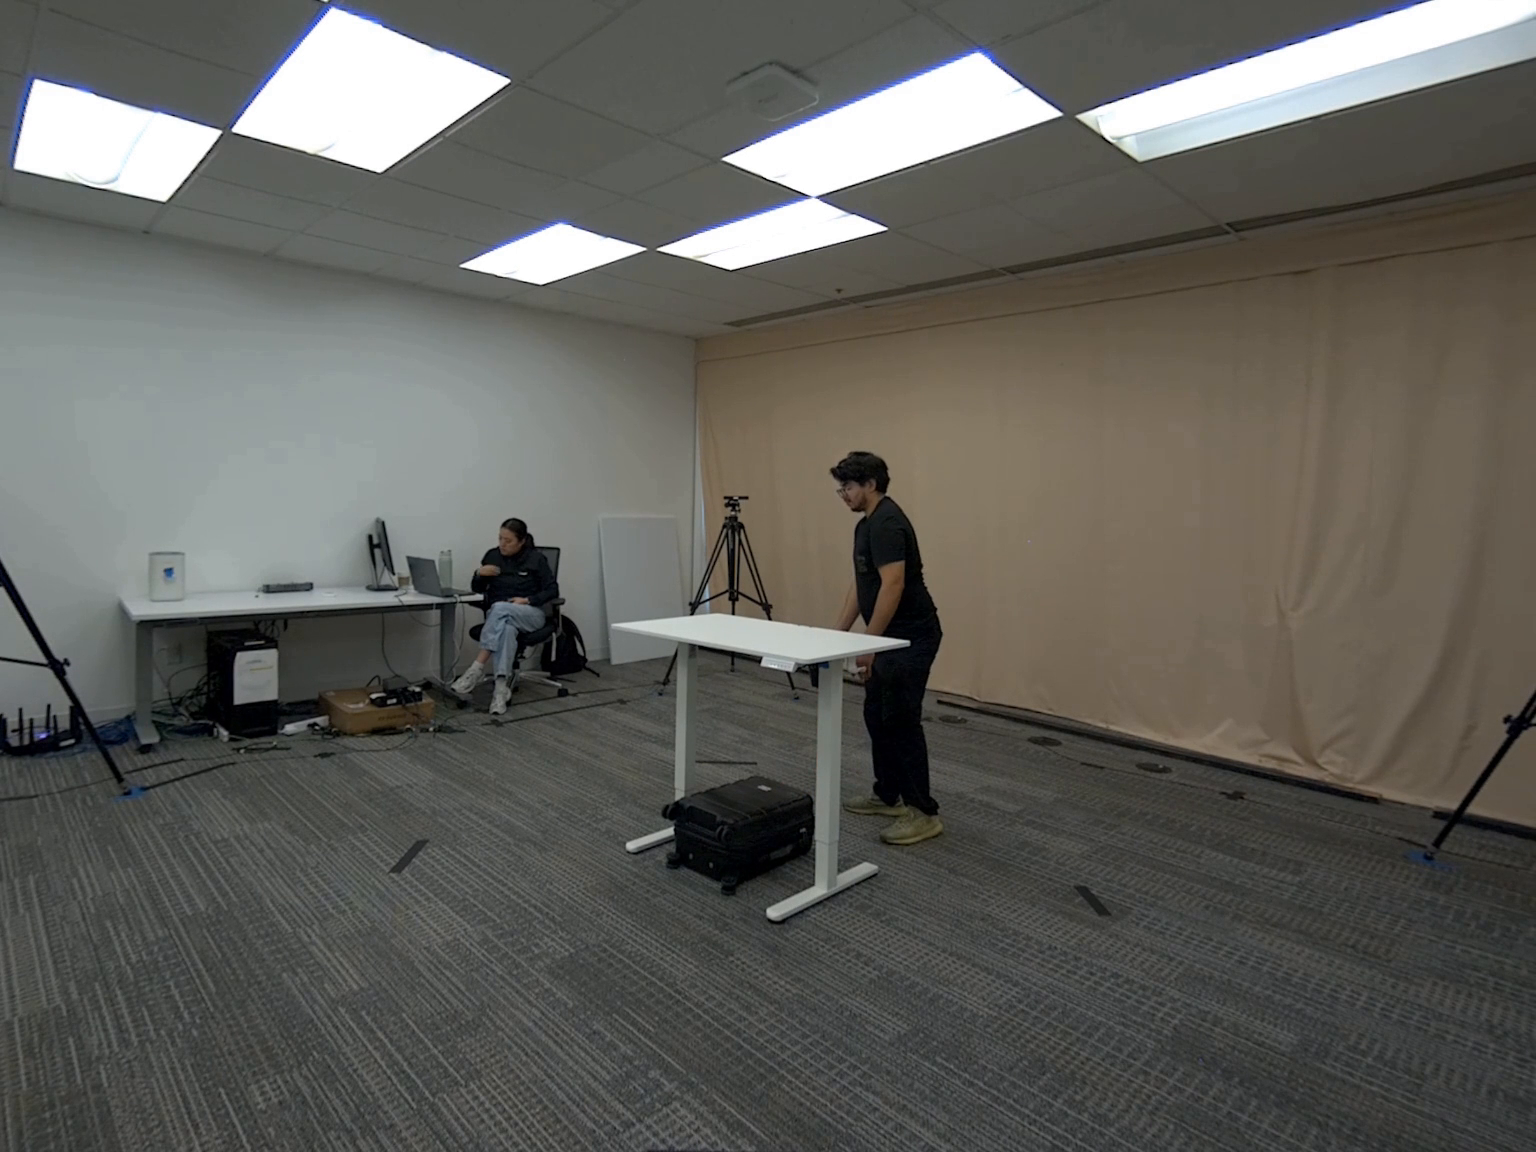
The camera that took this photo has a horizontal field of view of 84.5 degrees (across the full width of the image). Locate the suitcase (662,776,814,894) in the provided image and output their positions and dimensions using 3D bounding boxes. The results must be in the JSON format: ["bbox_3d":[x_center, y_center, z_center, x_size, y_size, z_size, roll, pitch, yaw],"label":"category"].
[{"bbox_3d":[-0.098,0.976,3.248,0.385,0.247,0.537,4,6,42],"label":"suitcase"}]
